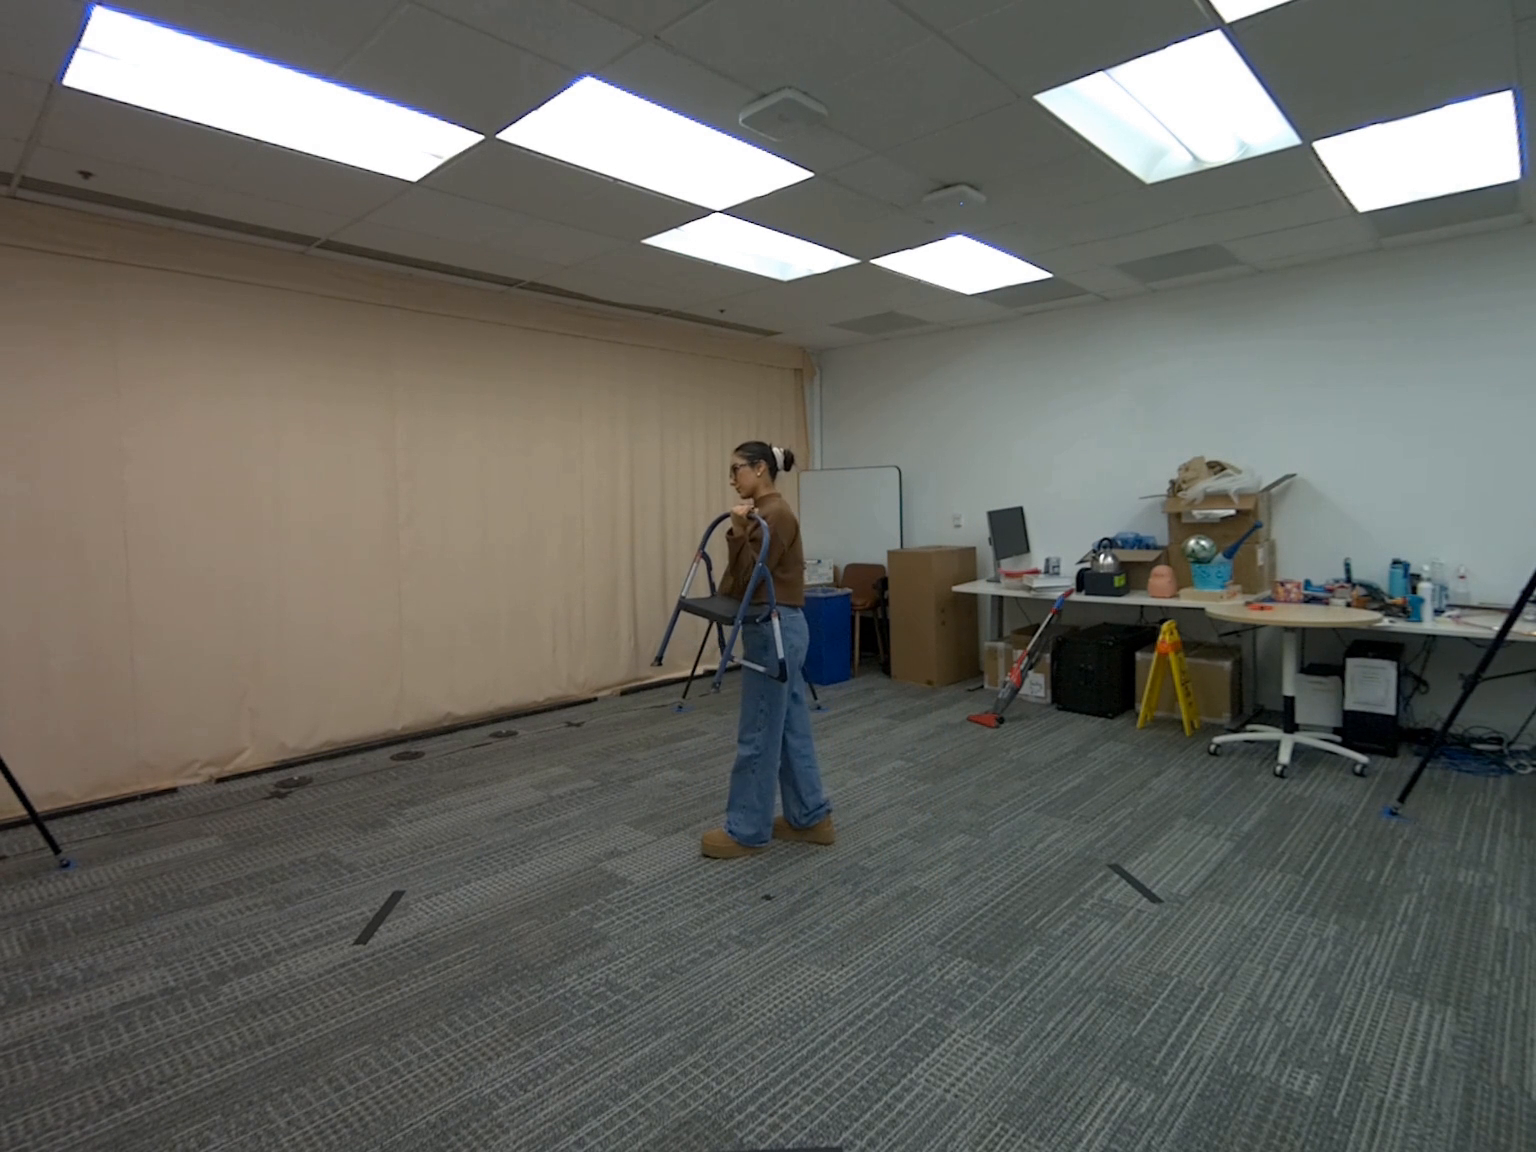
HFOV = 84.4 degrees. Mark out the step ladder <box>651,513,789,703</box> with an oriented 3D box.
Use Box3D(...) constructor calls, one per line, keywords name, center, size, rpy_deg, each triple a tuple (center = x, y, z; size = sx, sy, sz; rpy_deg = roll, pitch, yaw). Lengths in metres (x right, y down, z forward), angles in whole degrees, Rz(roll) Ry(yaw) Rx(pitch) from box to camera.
Box3D(name="step ladder", center=(-0.167, 0.067, 3.127), size=(0.339, 0.604, 0.445), rpy_deg=(-1, 8, -35))
